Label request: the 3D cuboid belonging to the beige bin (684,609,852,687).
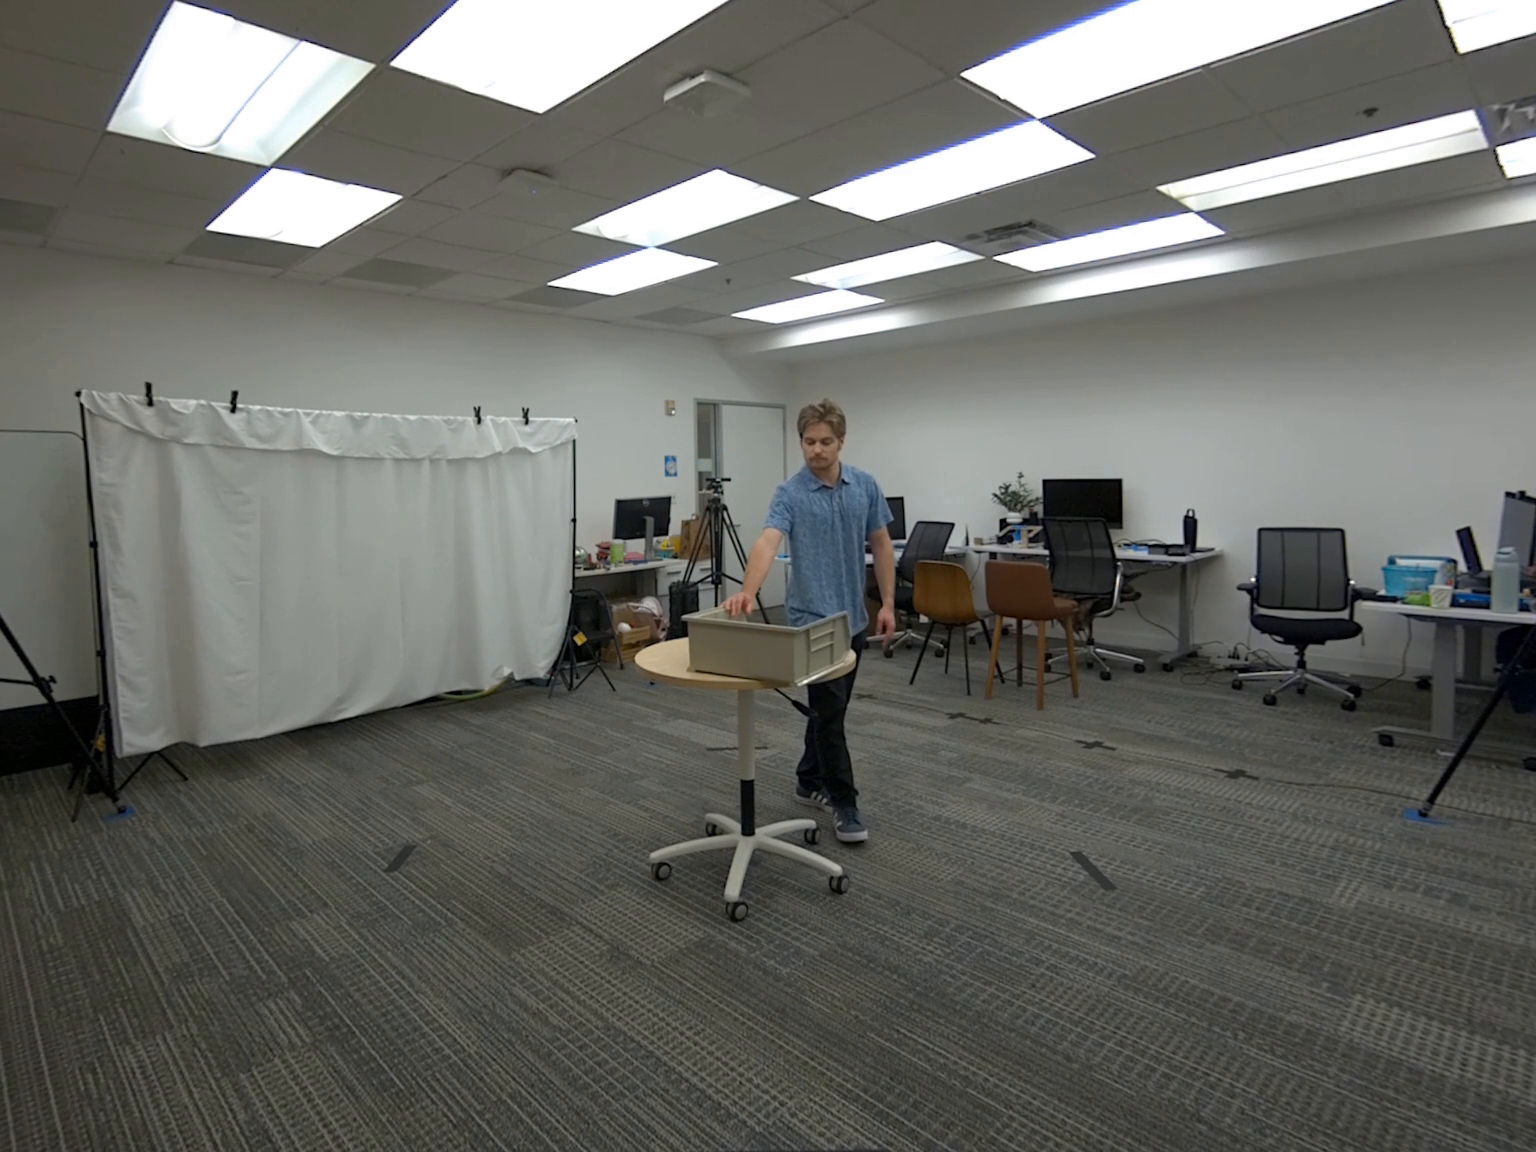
[{"bbox_3d":[0.001,0.210,2.763,0.434,0.188,0.369,4,10,32],"label":"beige bin"}]
